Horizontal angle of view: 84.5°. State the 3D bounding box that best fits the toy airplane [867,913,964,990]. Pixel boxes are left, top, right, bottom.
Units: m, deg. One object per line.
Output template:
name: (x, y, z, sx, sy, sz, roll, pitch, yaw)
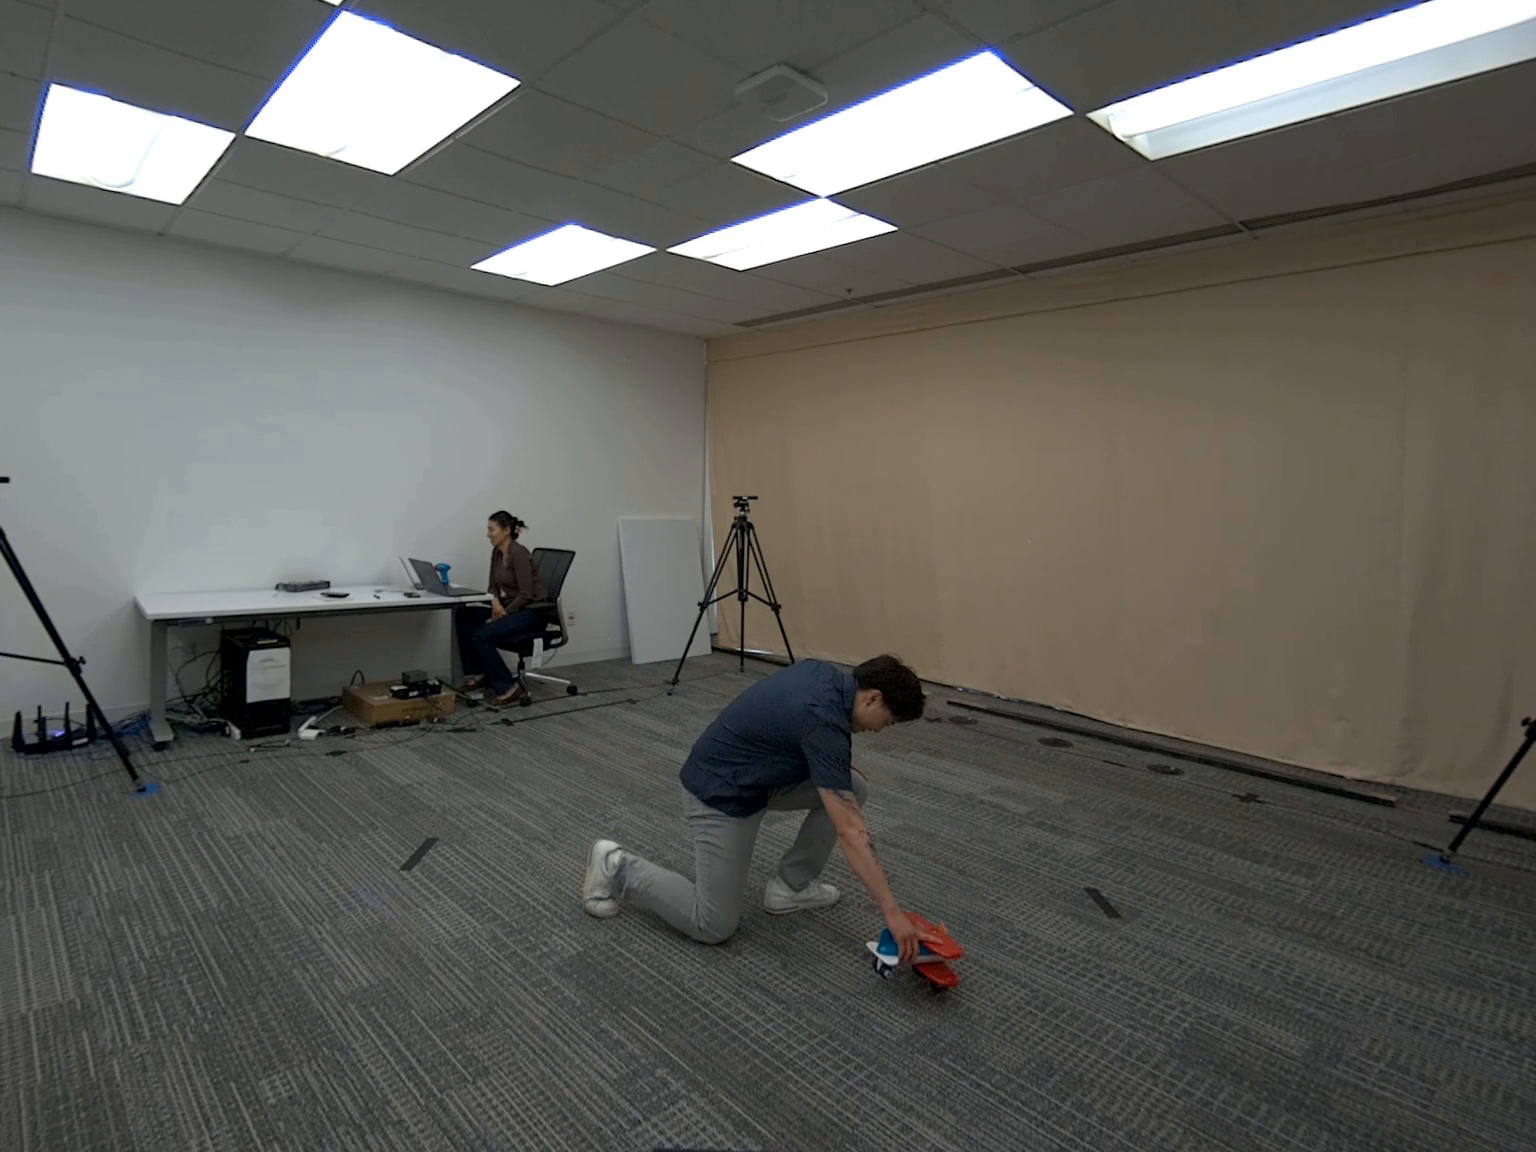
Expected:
toy airplane: (0.427, 1.087, 2.390, 0.258, 0.157, 0.251, 16, -5, 37)
